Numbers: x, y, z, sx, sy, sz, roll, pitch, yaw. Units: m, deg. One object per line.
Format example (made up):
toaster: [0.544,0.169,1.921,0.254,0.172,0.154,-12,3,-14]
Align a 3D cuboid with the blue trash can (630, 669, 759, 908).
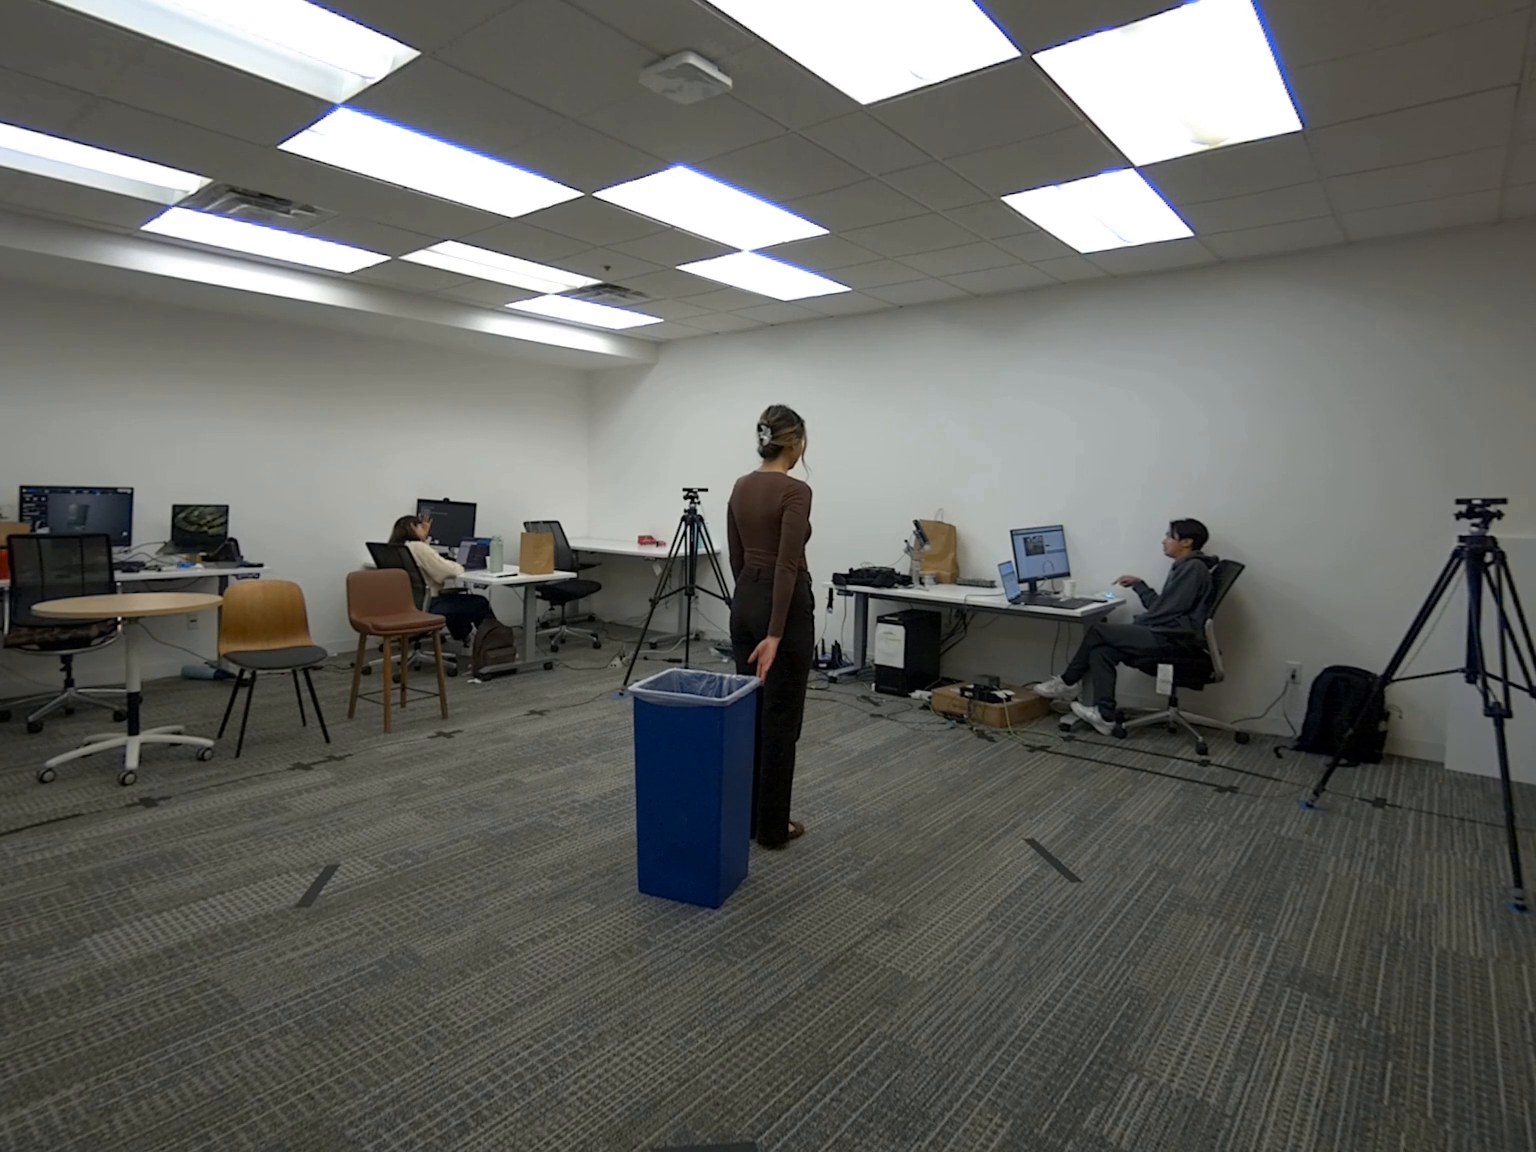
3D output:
blue trash can: [-0.260,0.721,2.986,0.382,0.712,0.371,1,3,20]
